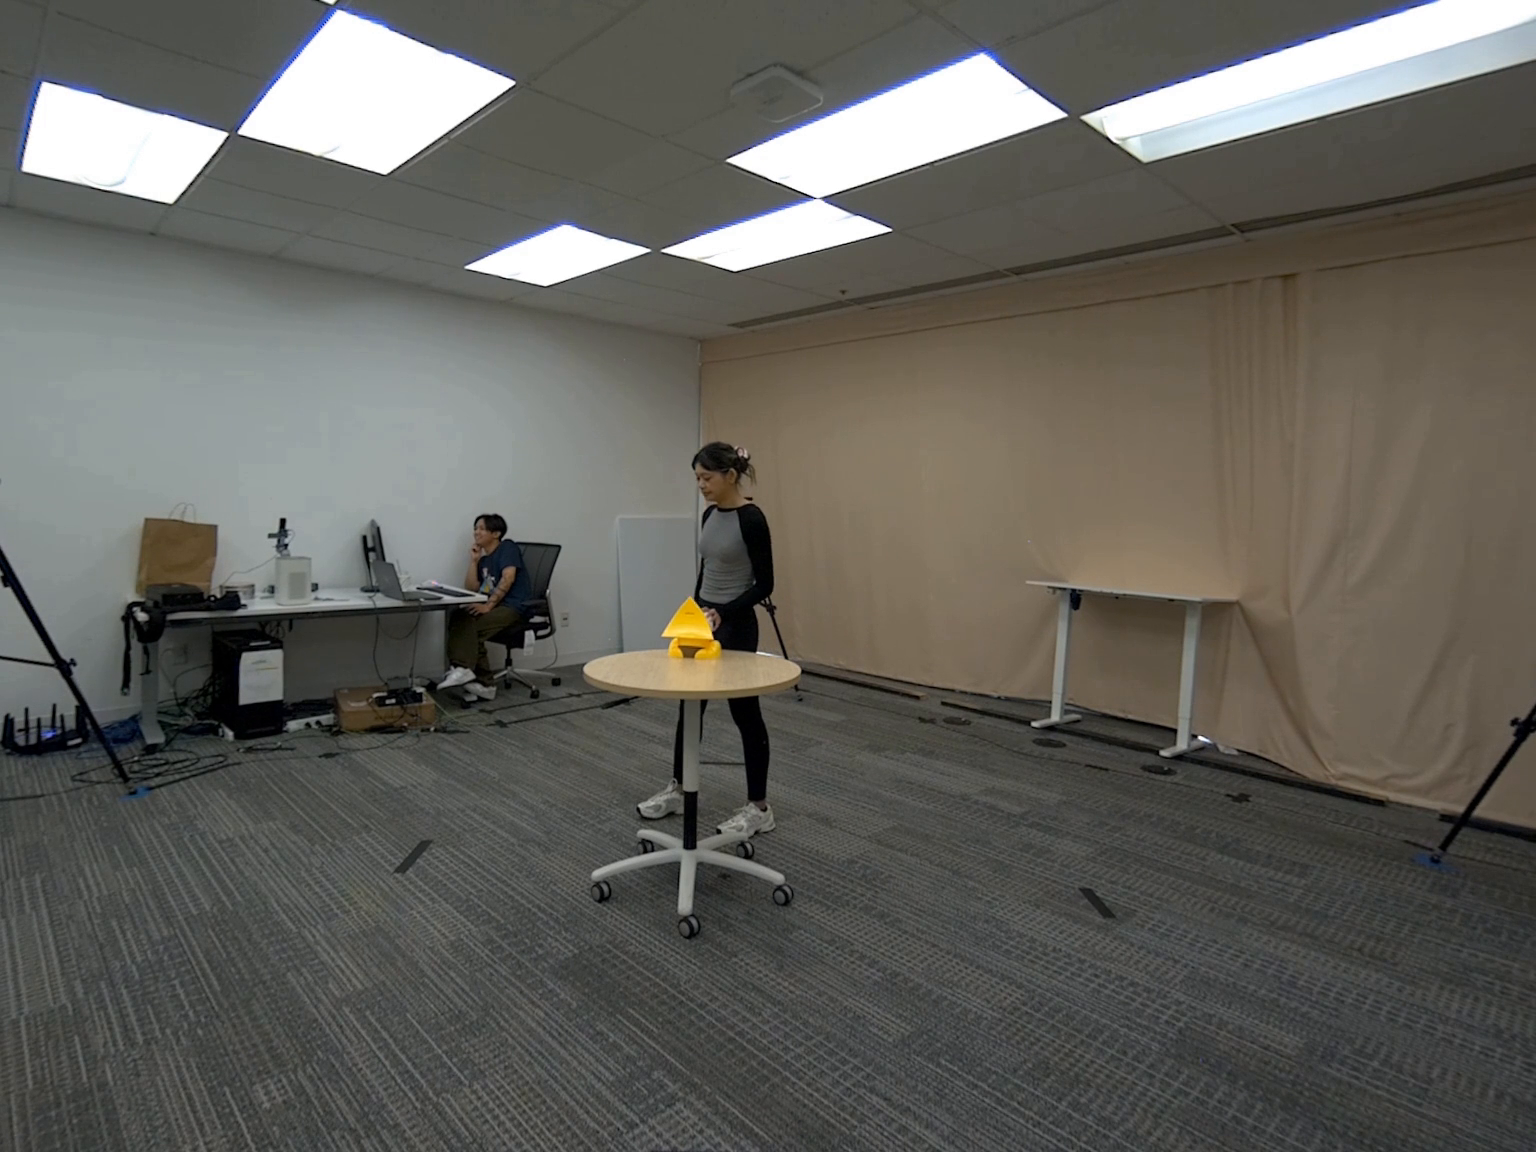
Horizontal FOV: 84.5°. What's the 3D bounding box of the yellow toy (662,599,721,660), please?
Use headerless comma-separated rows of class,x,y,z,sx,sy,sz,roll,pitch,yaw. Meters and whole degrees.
yellow toy,-0.297,0.189,3.225,0.207,0.230,0.191,2,4,16
